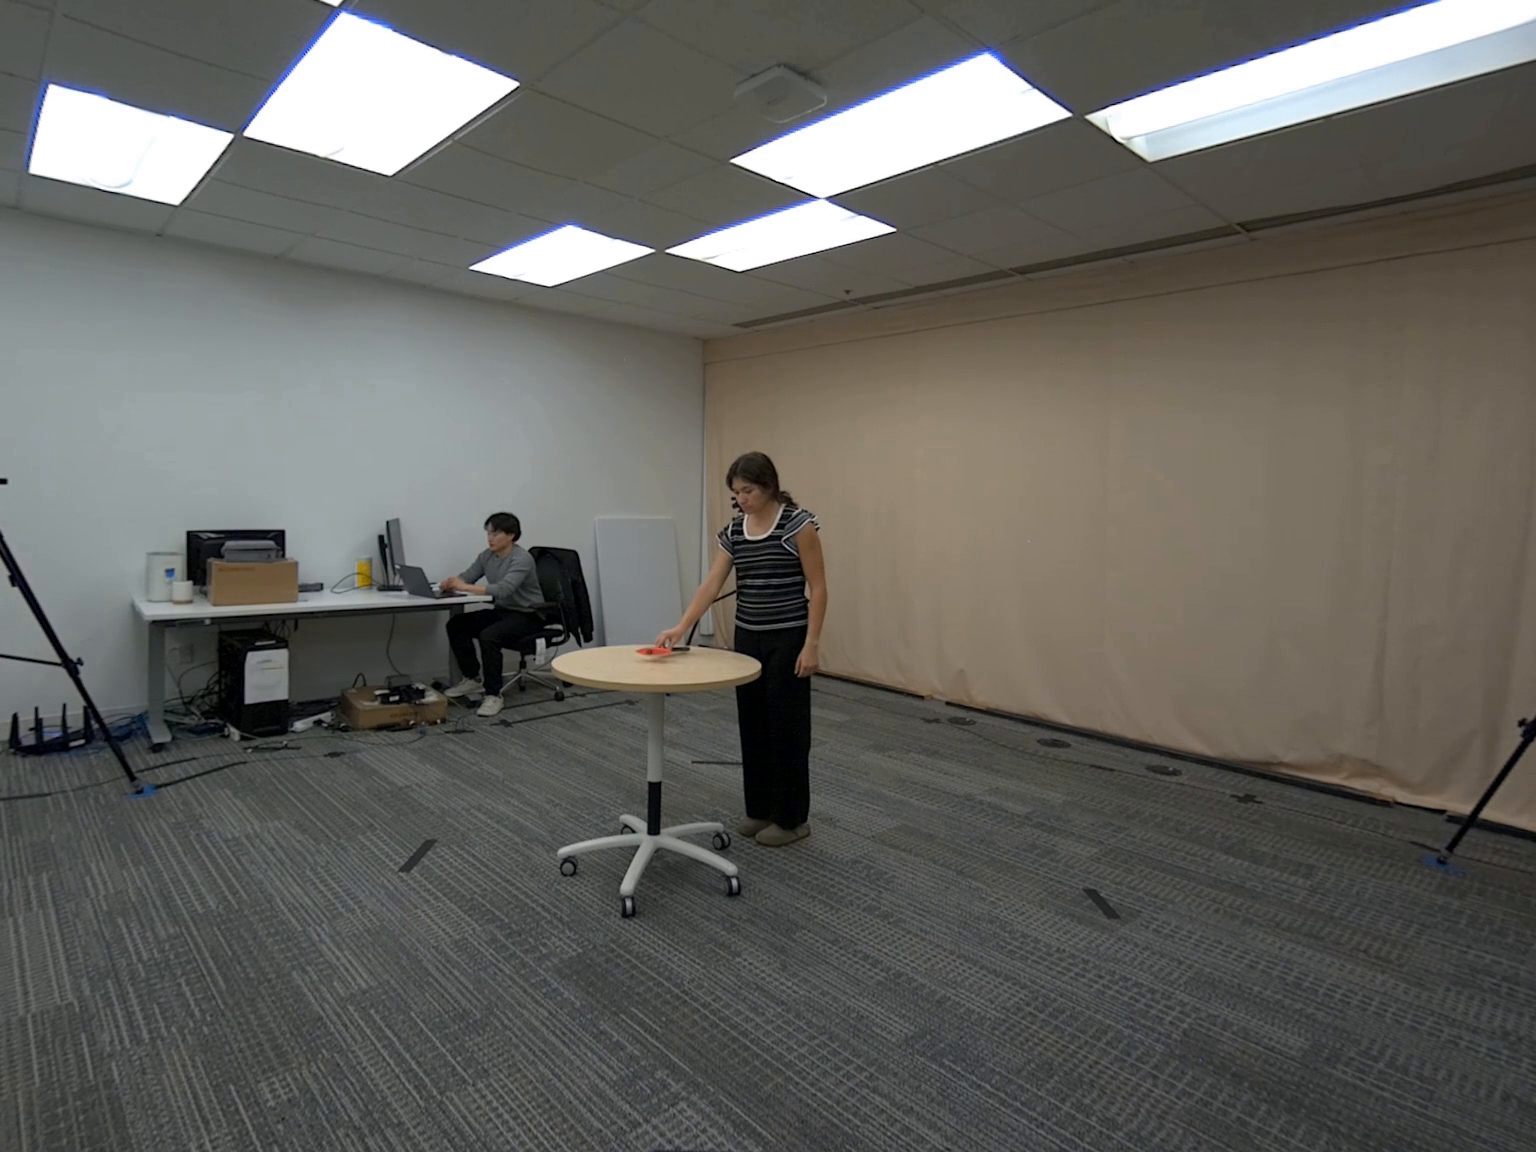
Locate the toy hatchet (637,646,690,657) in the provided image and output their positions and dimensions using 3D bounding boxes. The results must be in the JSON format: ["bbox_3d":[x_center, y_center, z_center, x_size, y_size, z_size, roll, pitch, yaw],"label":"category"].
[{"bbox_3d":[-0.390,0.282,3.197,0.134,0.030,0.263,-4,-4,36],"label":"toy hatchet"}]
